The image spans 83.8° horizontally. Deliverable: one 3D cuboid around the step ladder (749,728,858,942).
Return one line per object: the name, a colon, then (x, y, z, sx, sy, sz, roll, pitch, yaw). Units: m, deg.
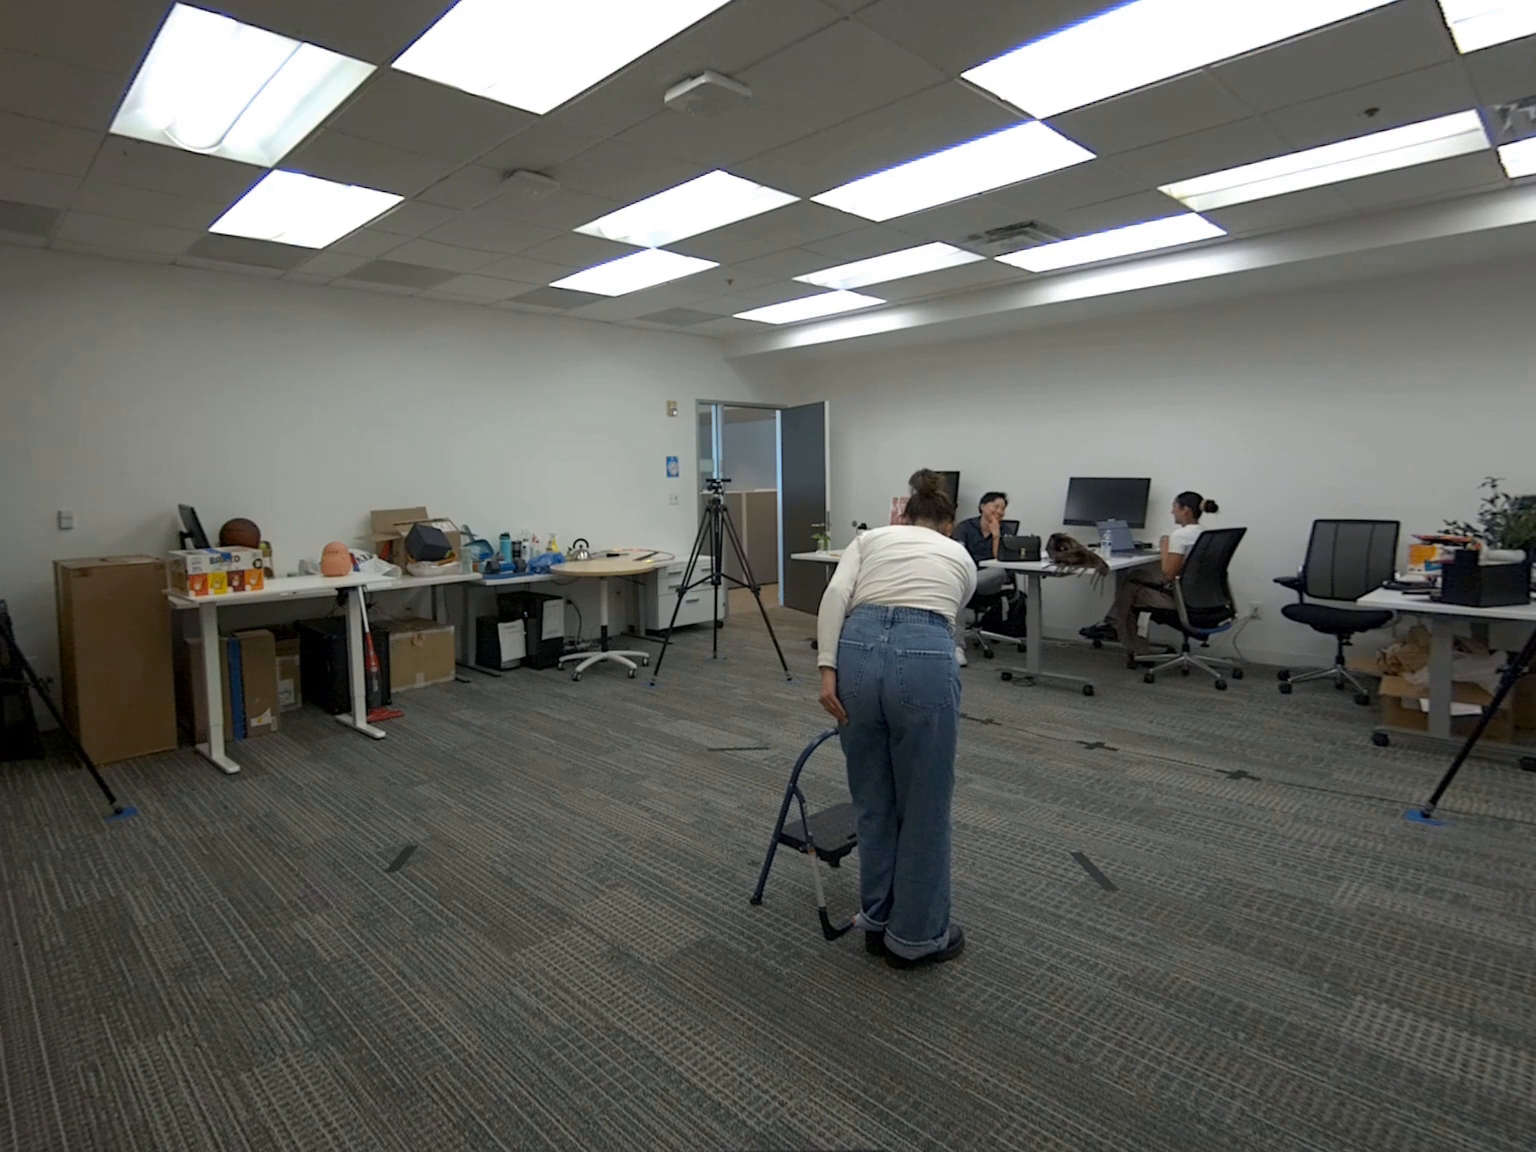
step ladder: (0.206, 0.773, 2.814, 0.419, 0.604, 0.360, -5, 6, -44)
